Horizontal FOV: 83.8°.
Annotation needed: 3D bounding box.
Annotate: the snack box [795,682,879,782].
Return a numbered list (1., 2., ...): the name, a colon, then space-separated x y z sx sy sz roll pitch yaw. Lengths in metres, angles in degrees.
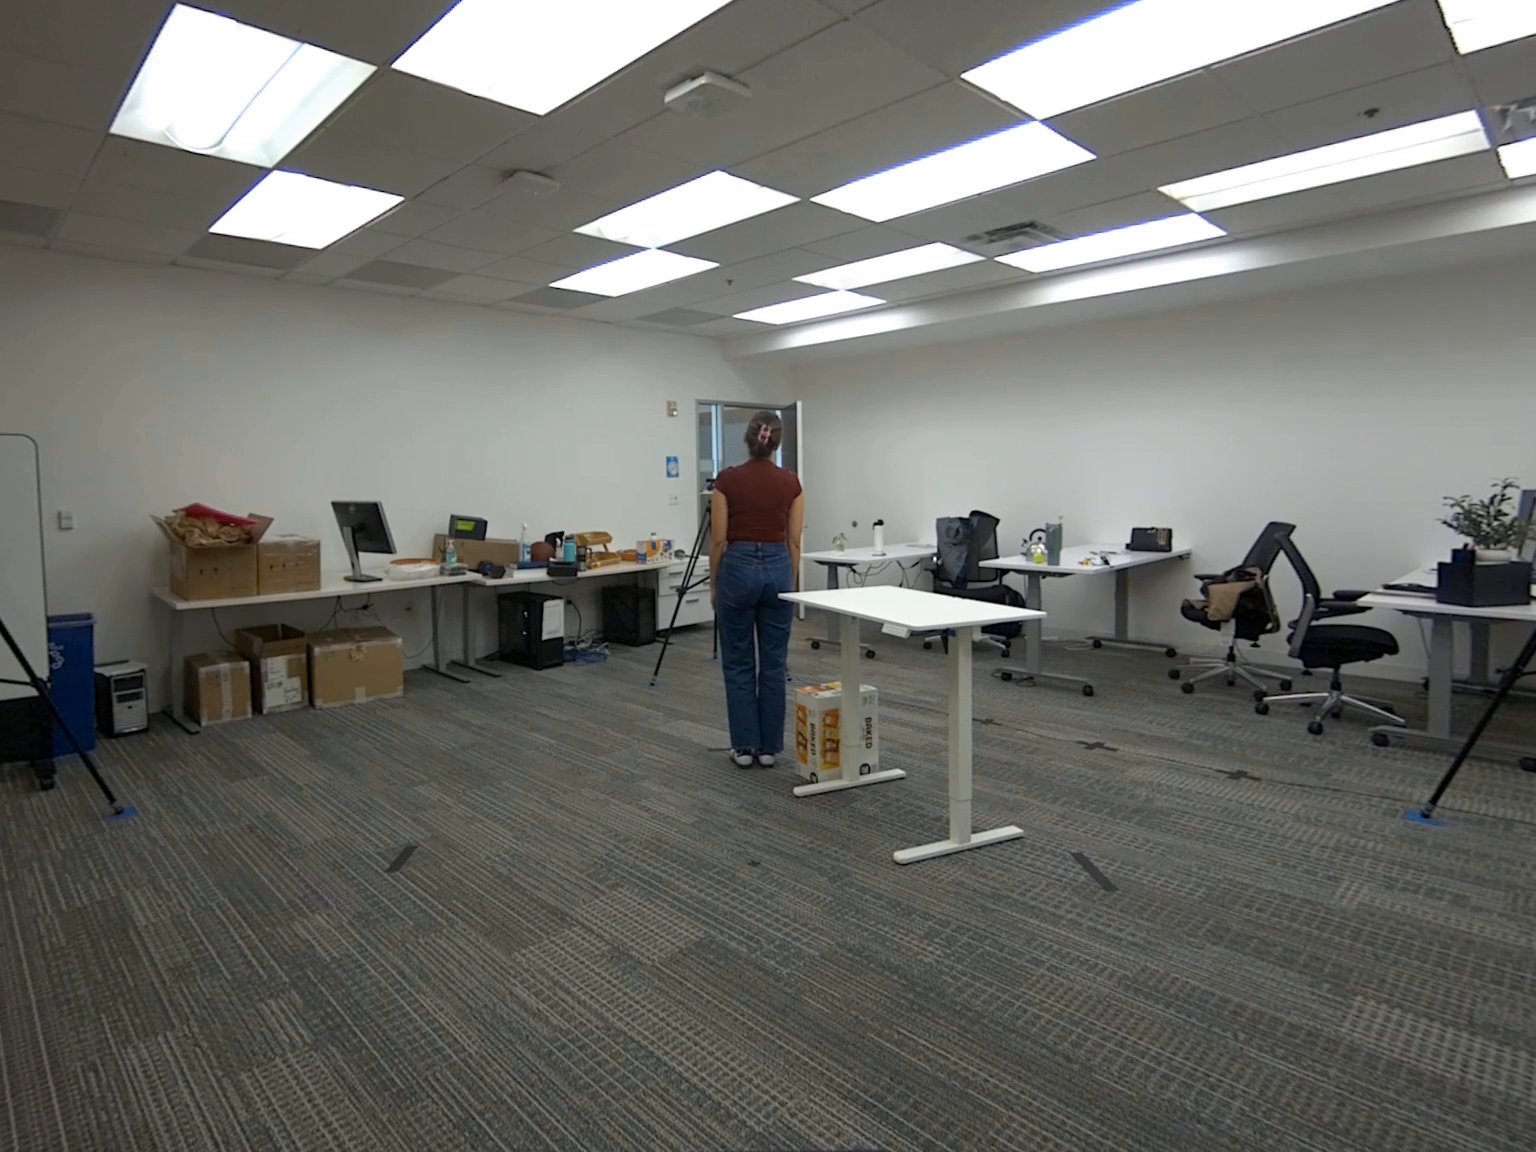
1. snack box: 0.318 0.723 4.028 0.333 0.403 0.211 -4 5 -28
